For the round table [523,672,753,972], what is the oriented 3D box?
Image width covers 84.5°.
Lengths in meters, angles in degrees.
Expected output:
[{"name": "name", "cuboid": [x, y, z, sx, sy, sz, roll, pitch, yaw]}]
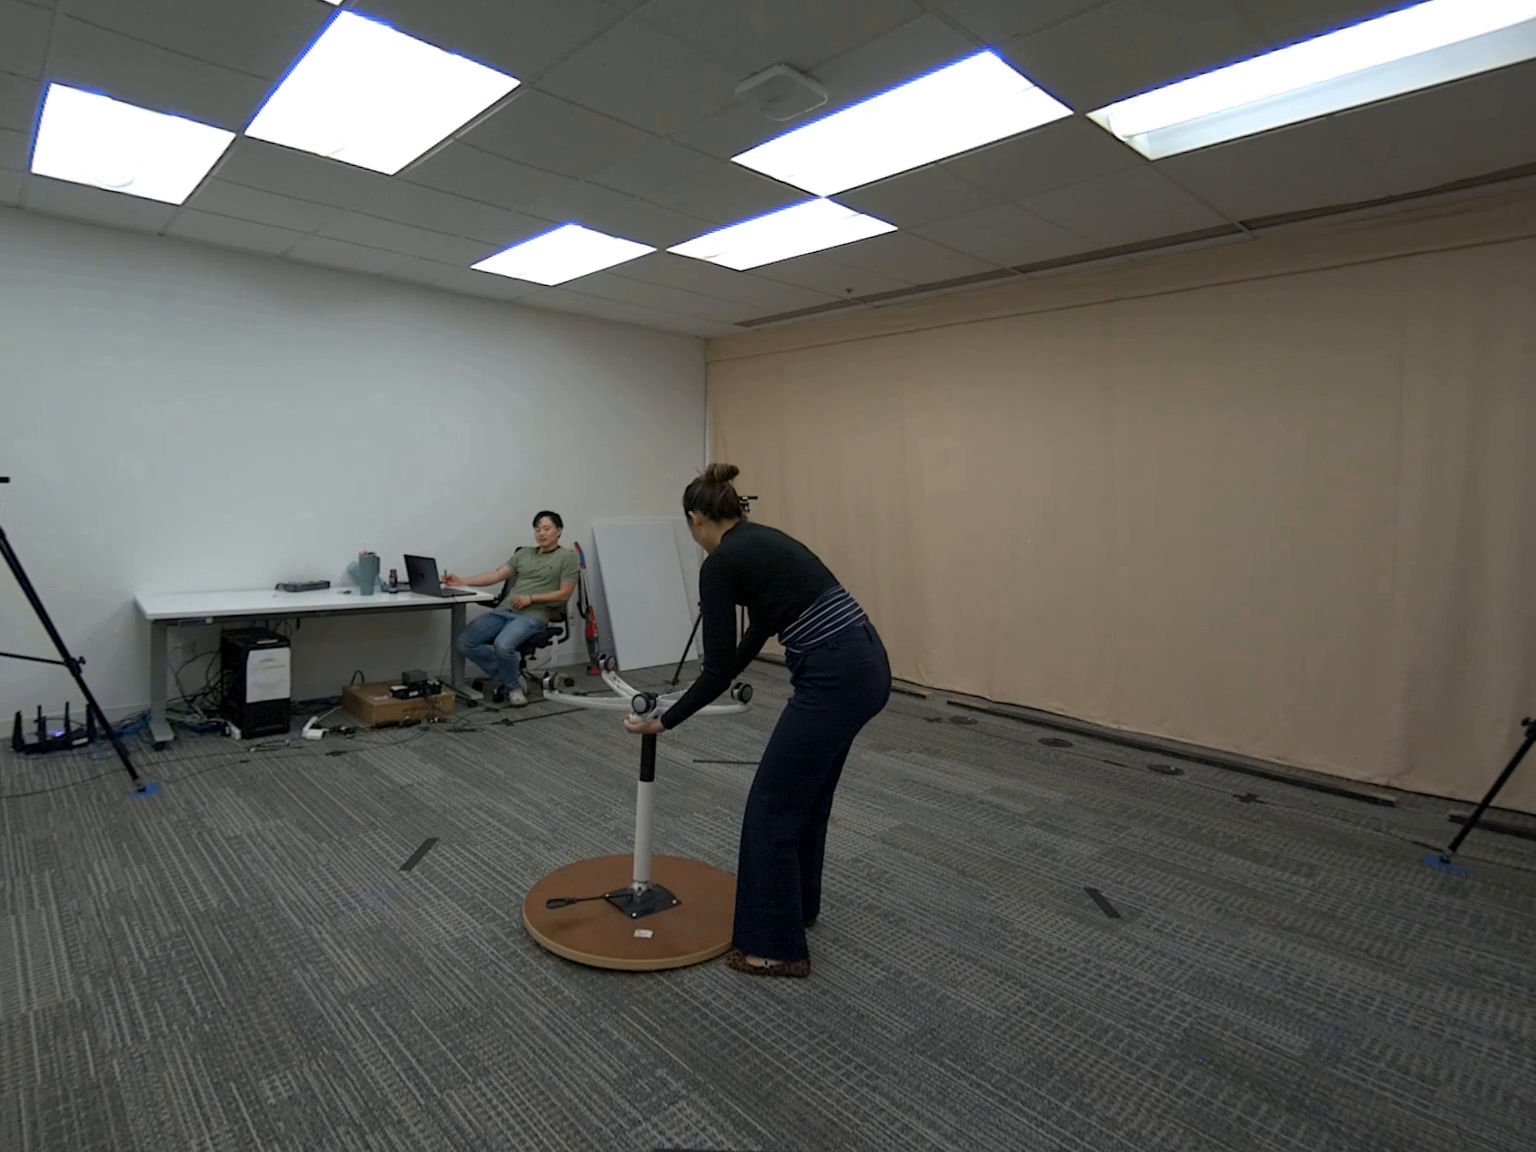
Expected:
[{"name": "round table", "cuboid": [-0.408, 0.717, 2.801, 0.763, 0.792, 0.766, 4, 4, -2]}]
